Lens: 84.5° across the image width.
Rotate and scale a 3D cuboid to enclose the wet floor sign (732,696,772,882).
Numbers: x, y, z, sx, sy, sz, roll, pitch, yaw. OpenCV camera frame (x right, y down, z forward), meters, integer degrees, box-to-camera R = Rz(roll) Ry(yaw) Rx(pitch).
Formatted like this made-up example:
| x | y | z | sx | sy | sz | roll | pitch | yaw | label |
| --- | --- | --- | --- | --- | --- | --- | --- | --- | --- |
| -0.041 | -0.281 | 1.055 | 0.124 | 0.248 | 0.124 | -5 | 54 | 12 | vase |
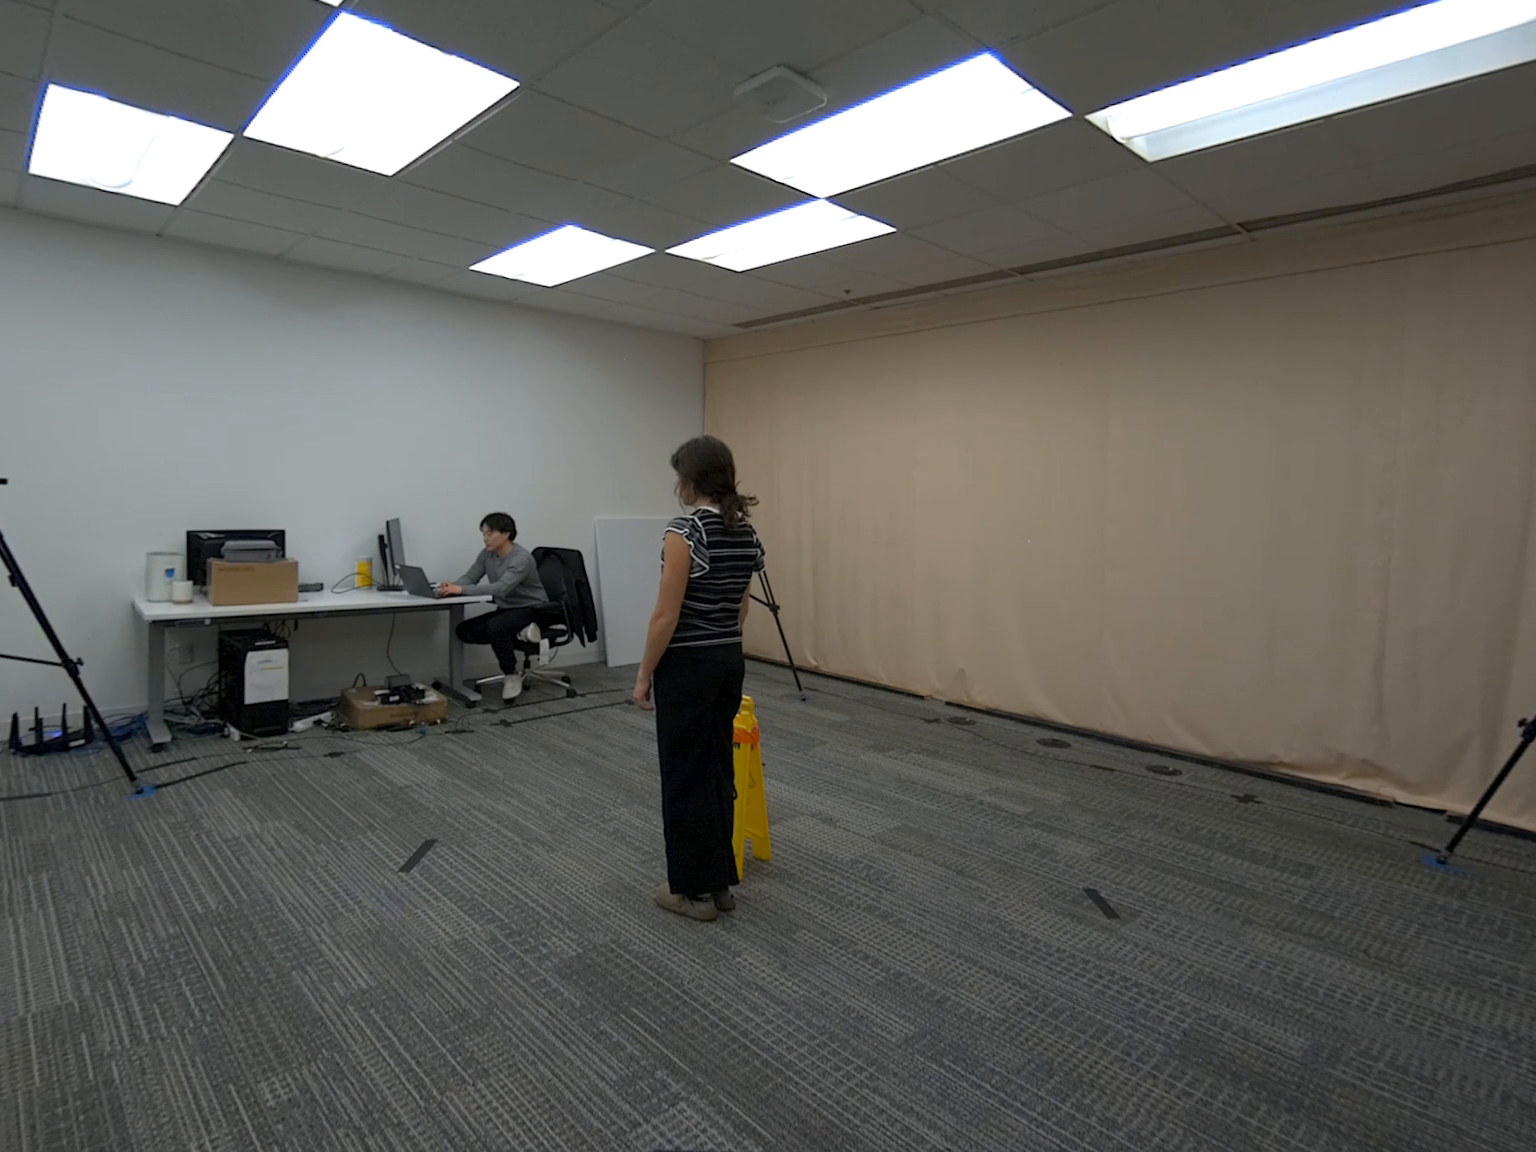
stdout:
| x | y | z | sx | sy | sz | roll | pitch | yaw | label |
| --- | --- | --- | --- | --- | --- | --- | --- | --- | --- |
| -0.161 | 0.774 | 3.213 | 0.288 | 0.645 | 0.284 | 4 | 3 | 31 | wet floor sign |
